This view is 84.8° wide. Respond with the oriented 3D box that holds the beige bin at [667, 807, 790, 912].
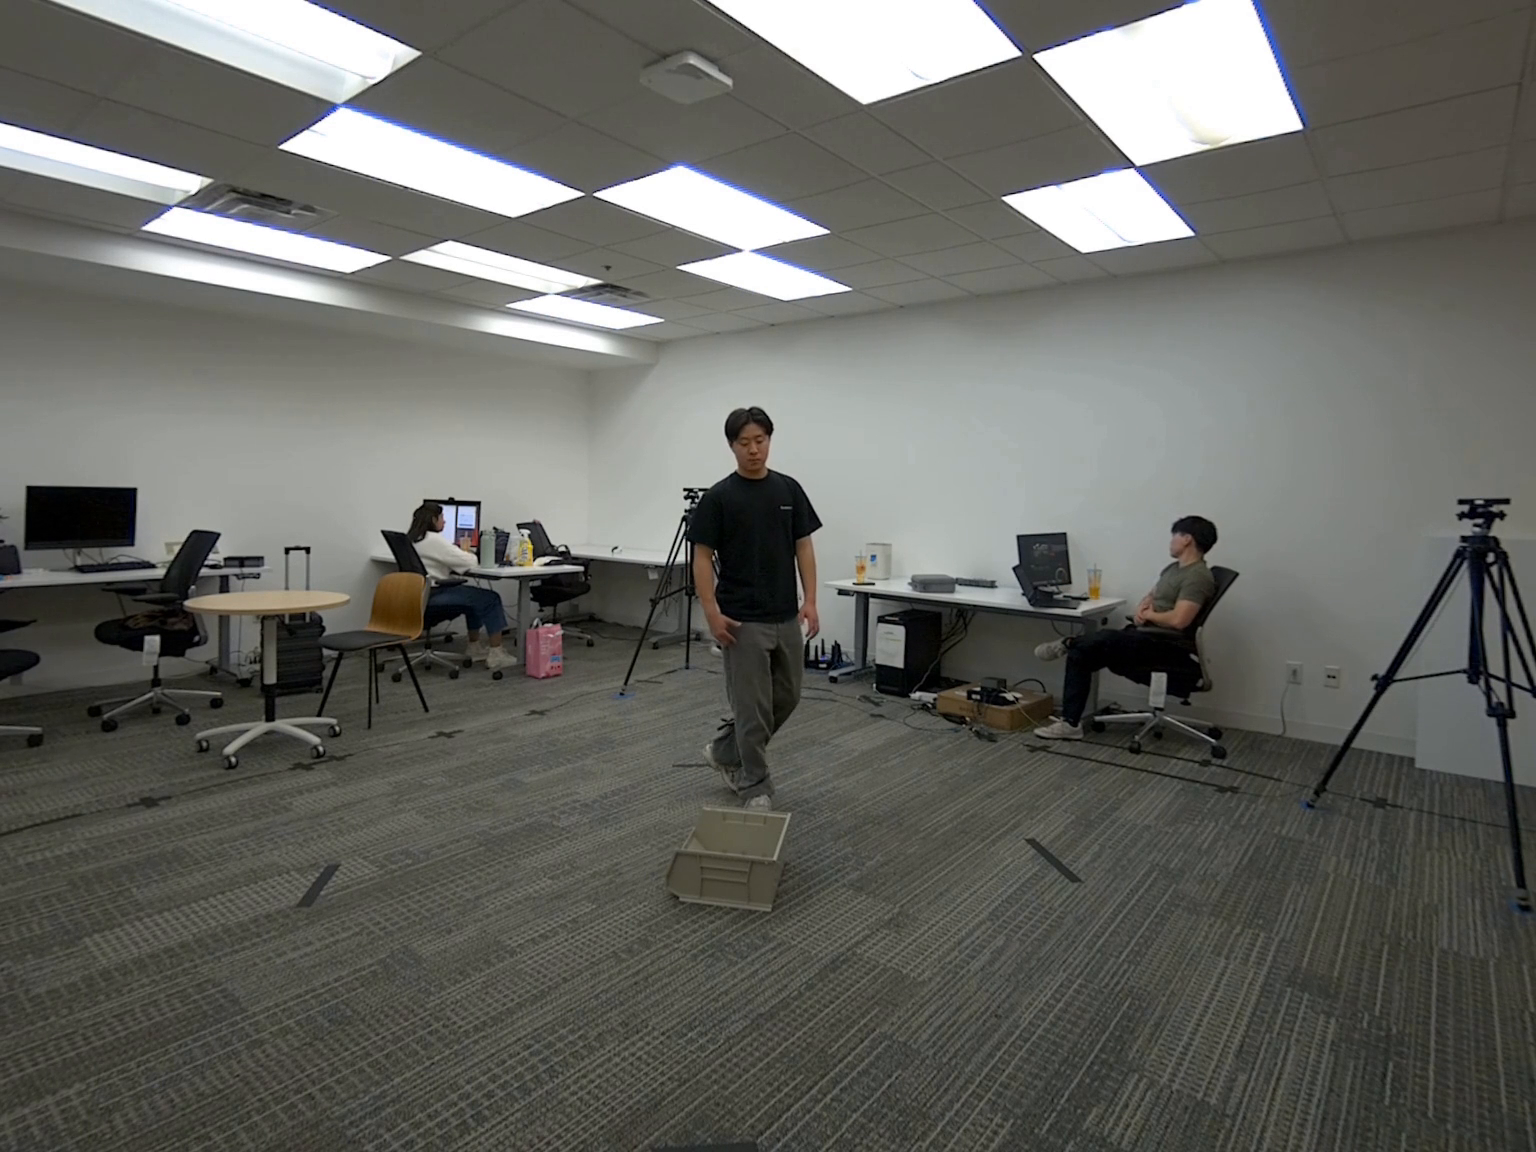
[{"bbox_3d":[-0.145,0.988,3.027,0.382,0.188,0.419,2,5,9],"label":"beige bin"}]
